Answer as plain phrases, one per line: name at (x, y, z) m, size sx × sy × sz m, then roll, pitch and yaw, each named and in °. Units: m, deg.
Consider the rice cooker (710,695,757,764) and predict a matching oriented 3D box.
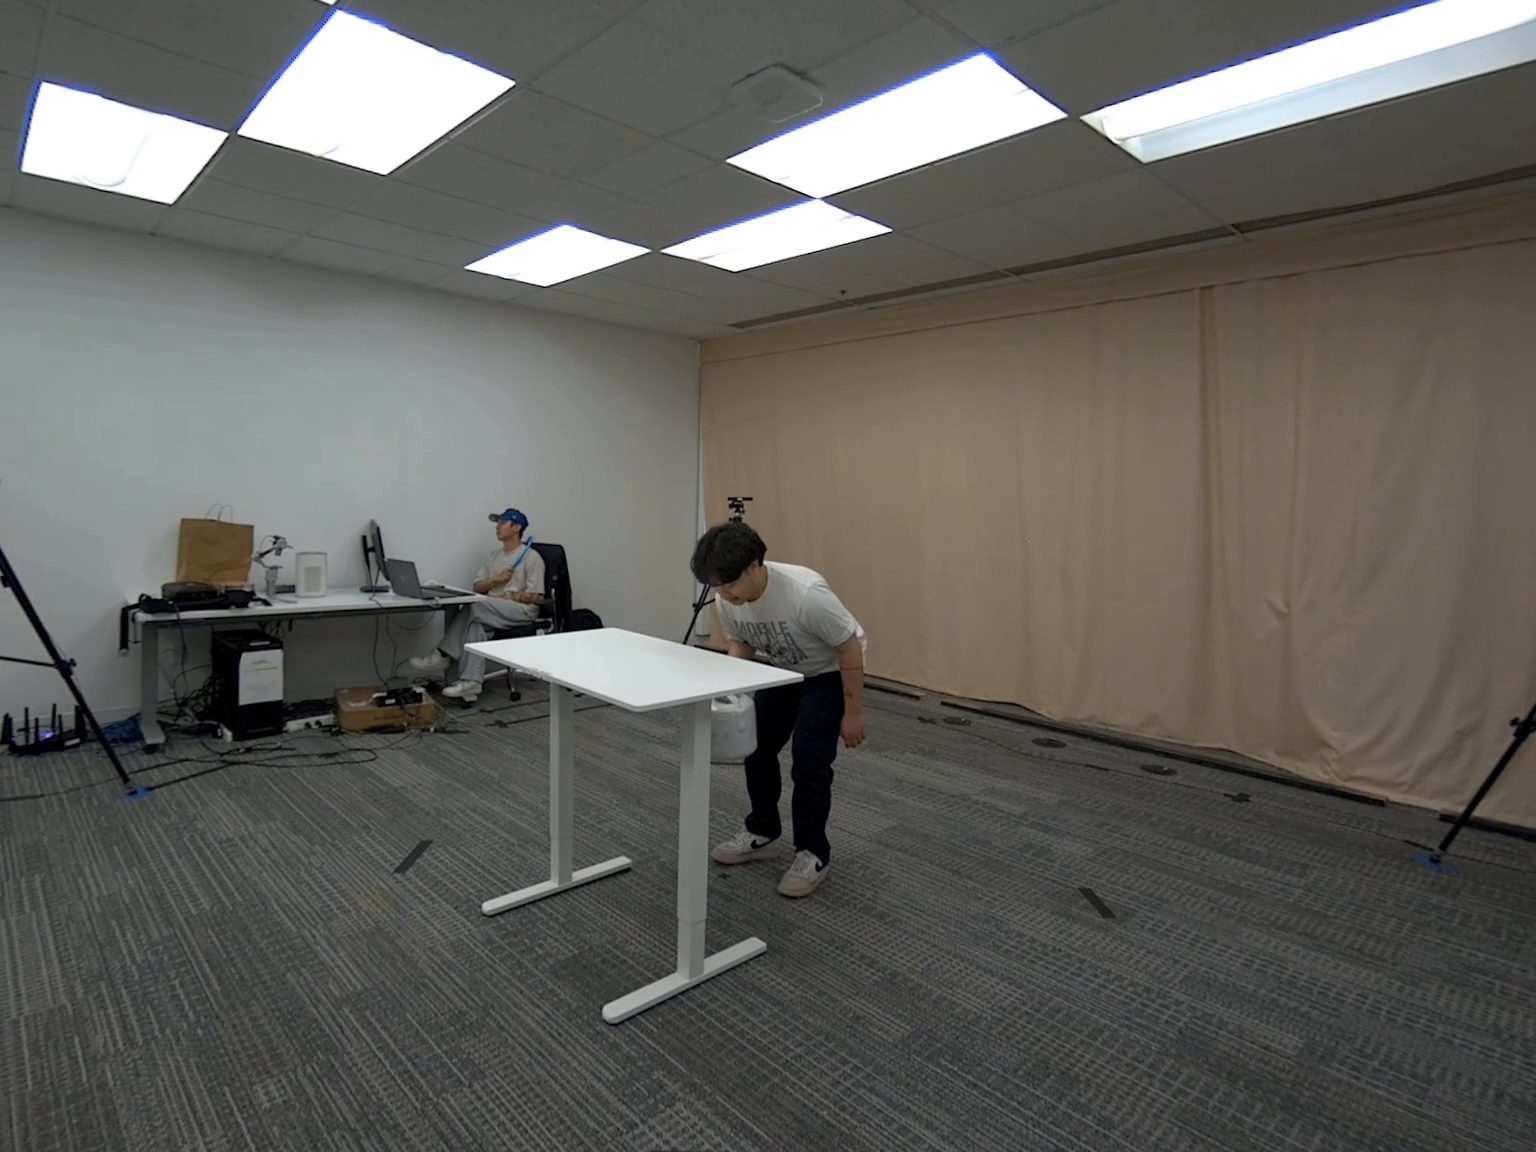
rice cooker at (-0.155, 0.531, 3.048) m, size 0.213 × 0.231 × 0.226 m, roll -8°, pitch 8°, yaw -33°
